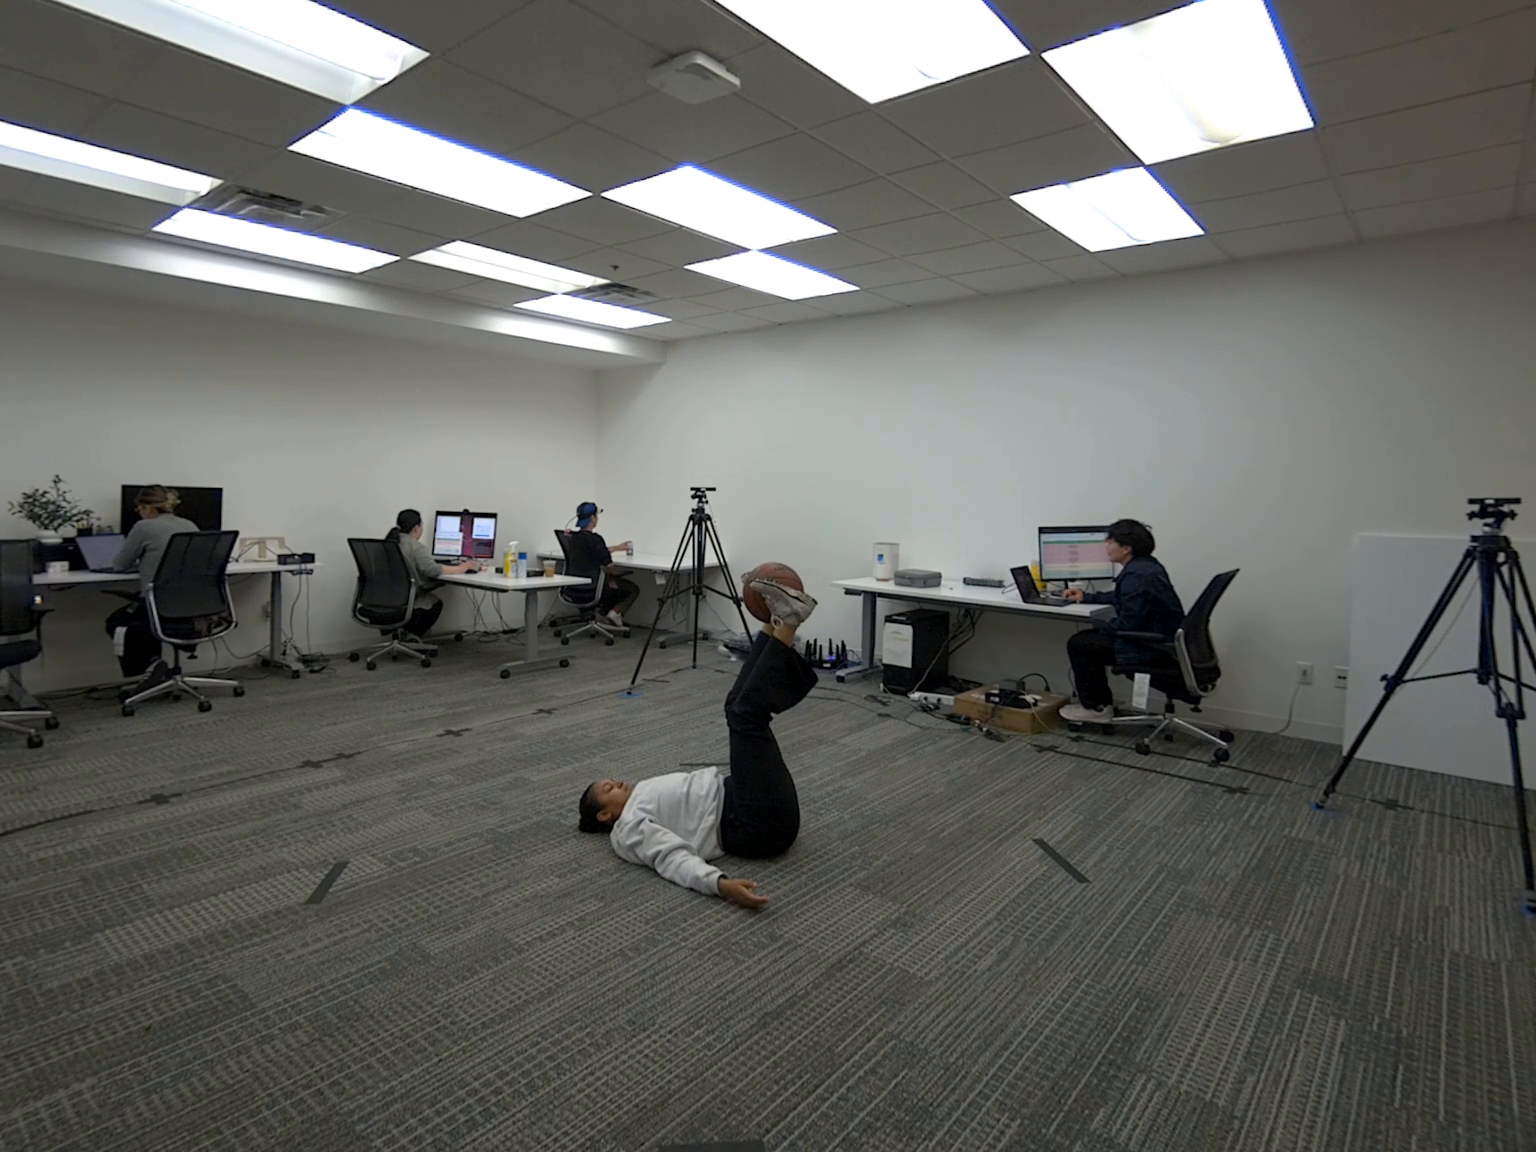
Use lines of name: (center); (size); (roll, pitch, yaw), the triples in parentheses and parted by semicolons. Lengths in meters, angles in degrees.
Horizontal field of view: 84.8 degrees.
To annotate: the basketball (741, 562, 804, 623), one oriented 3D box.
basketball: (0.020, 0.062, 3.302); (0.236, 0.234, 0.238); (-2, 8, -2)
